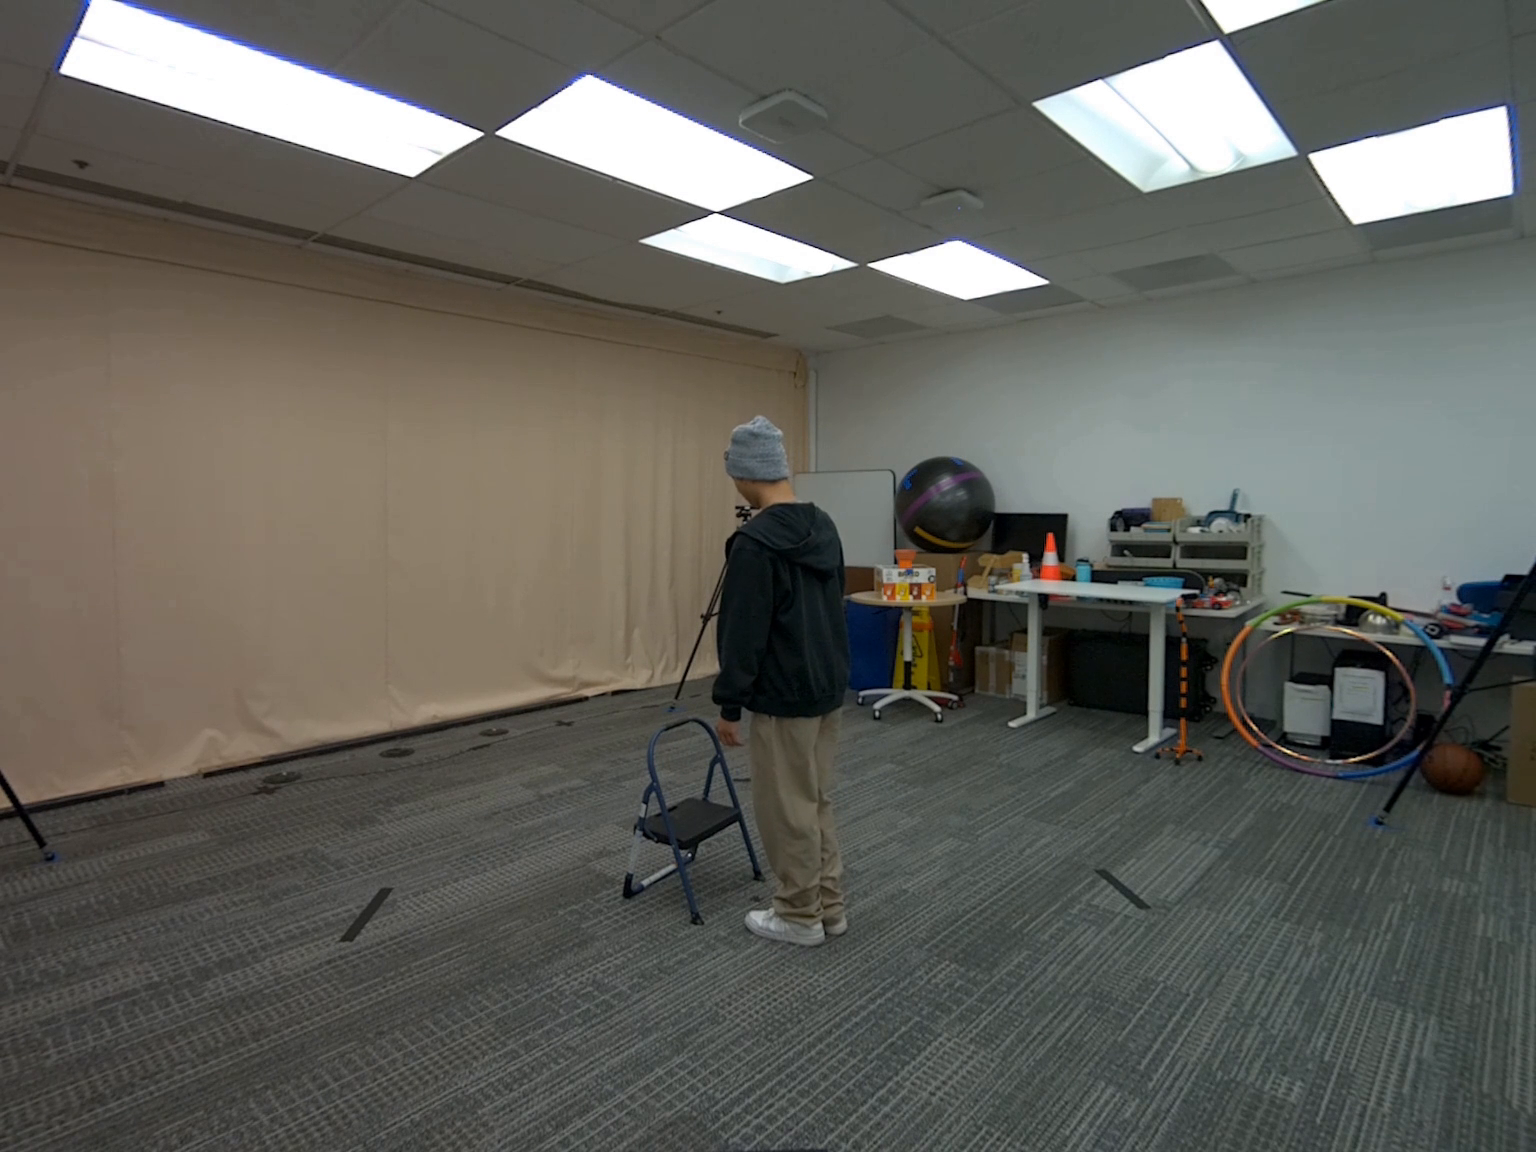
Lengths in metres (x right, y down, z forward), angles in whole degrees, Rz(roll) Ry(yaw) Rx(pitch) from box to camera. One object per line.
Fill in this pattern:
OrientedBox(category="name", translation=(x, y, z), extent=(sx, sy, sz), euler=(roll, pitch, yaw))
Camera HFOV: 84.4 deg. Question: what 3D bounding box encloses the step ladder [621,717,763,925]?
OrientedBox(category="step ladder", translation=(-0.268, 0.836, 3.053), extent=(0.360, 0.605, 0.419), euler=(2, 4, 32))
